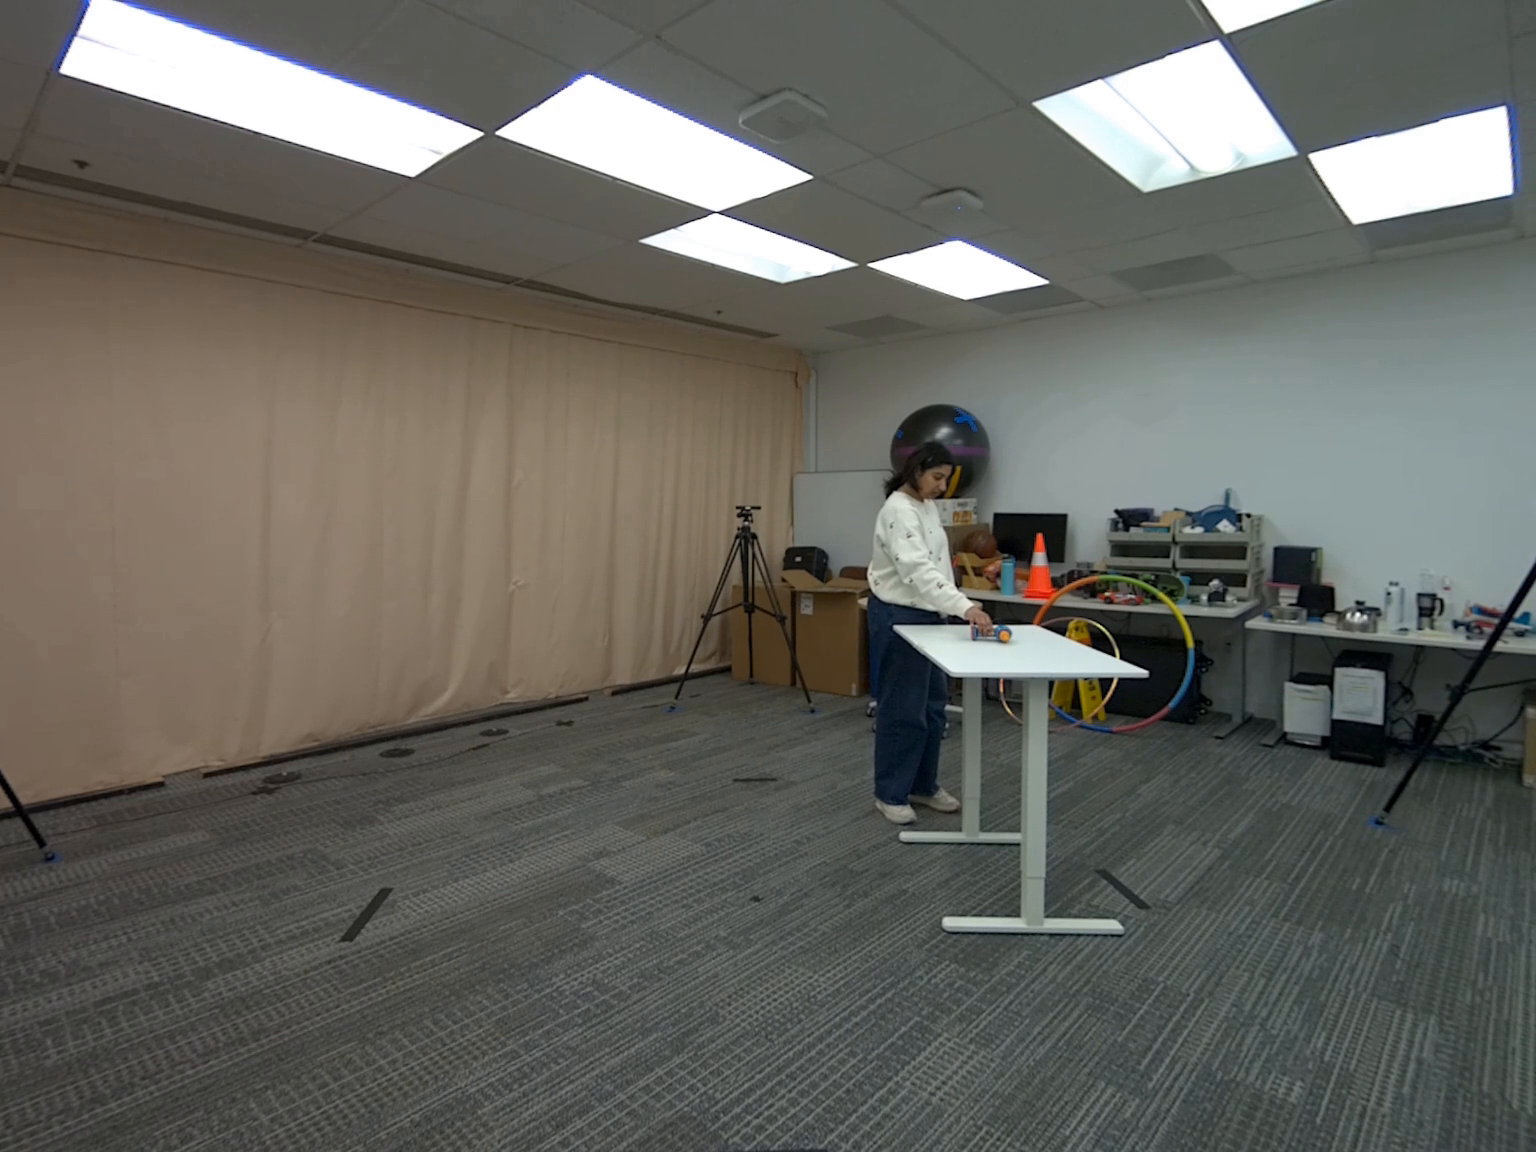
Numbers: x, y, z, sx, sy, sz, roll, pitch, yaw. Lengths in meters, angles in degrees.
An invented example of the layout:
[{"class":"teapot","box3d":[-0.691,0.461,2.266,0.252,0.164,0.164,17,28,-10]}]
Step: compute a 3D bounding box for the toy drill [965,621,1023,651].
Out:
[{"class":"toy drill","box3d":[0.831,0.218,3.126,0.146,0.061,0.171,-8,6,-3]}]
